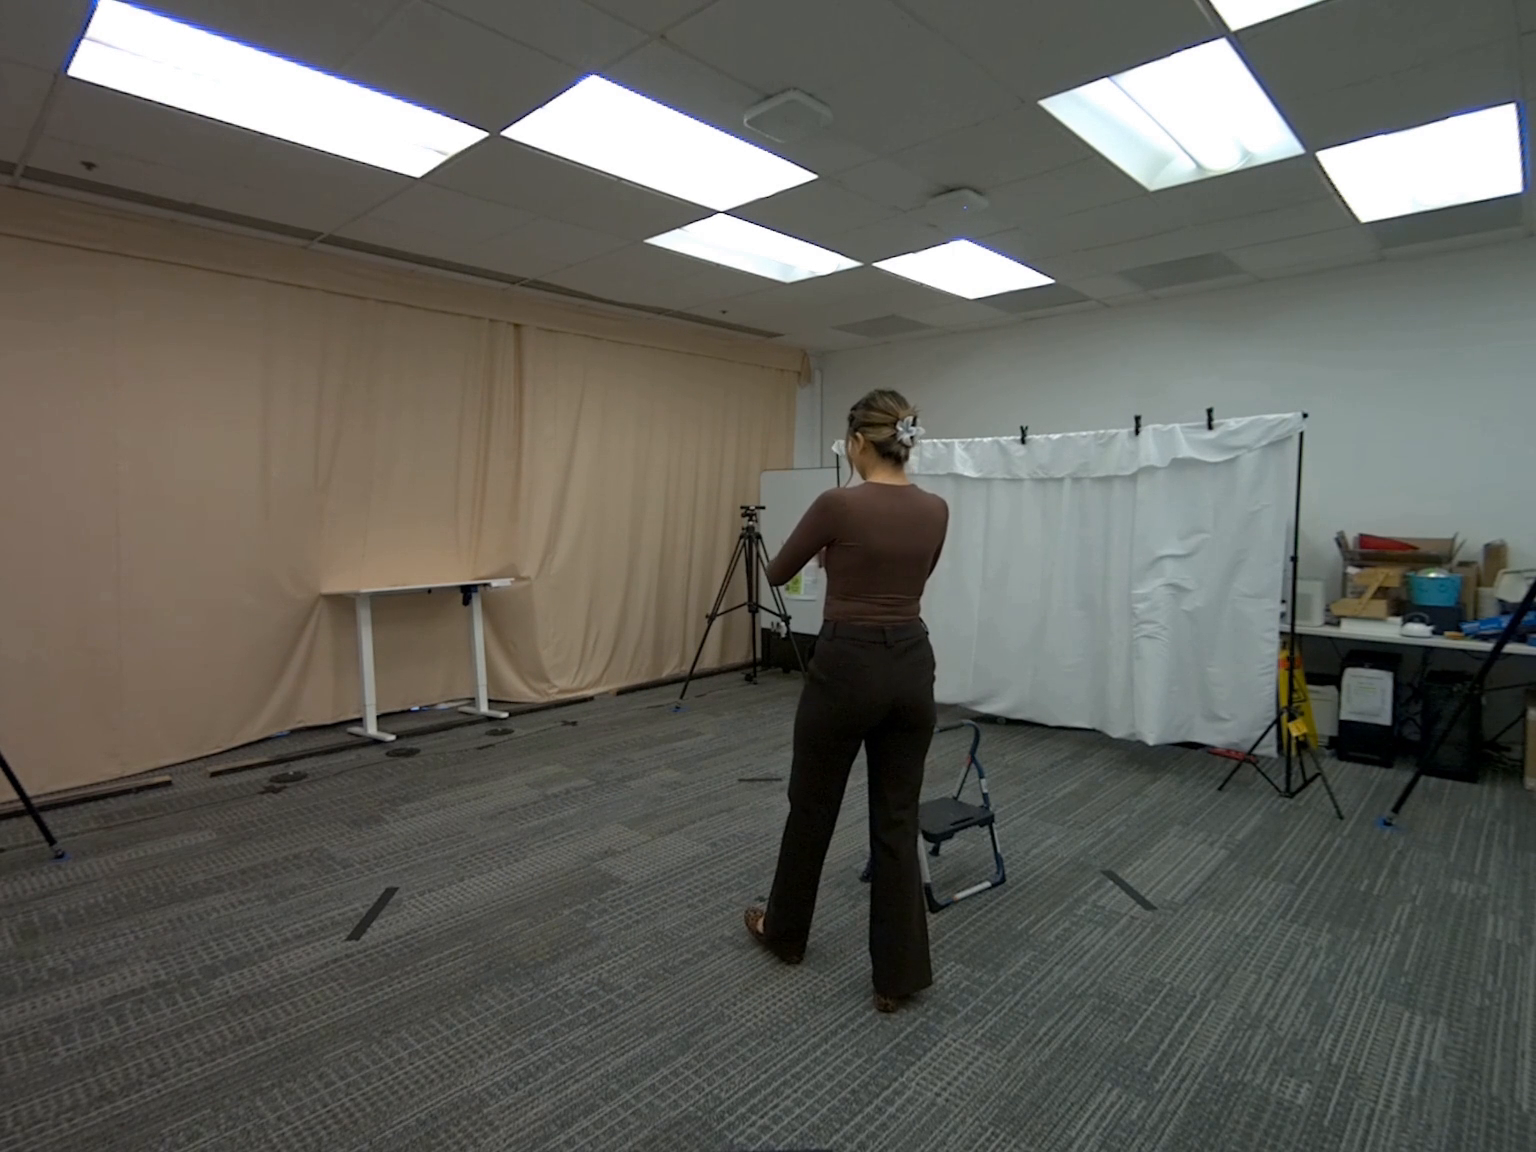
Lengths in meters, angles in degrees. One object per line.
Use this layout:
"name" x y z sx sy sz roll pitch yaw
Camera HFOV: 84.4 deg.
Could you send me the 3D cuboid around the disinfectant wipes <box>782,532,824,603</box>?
"disinfectant wipes" 0.117 -0.031 2.798 0.118 0.217 0.118 5 0 -2
